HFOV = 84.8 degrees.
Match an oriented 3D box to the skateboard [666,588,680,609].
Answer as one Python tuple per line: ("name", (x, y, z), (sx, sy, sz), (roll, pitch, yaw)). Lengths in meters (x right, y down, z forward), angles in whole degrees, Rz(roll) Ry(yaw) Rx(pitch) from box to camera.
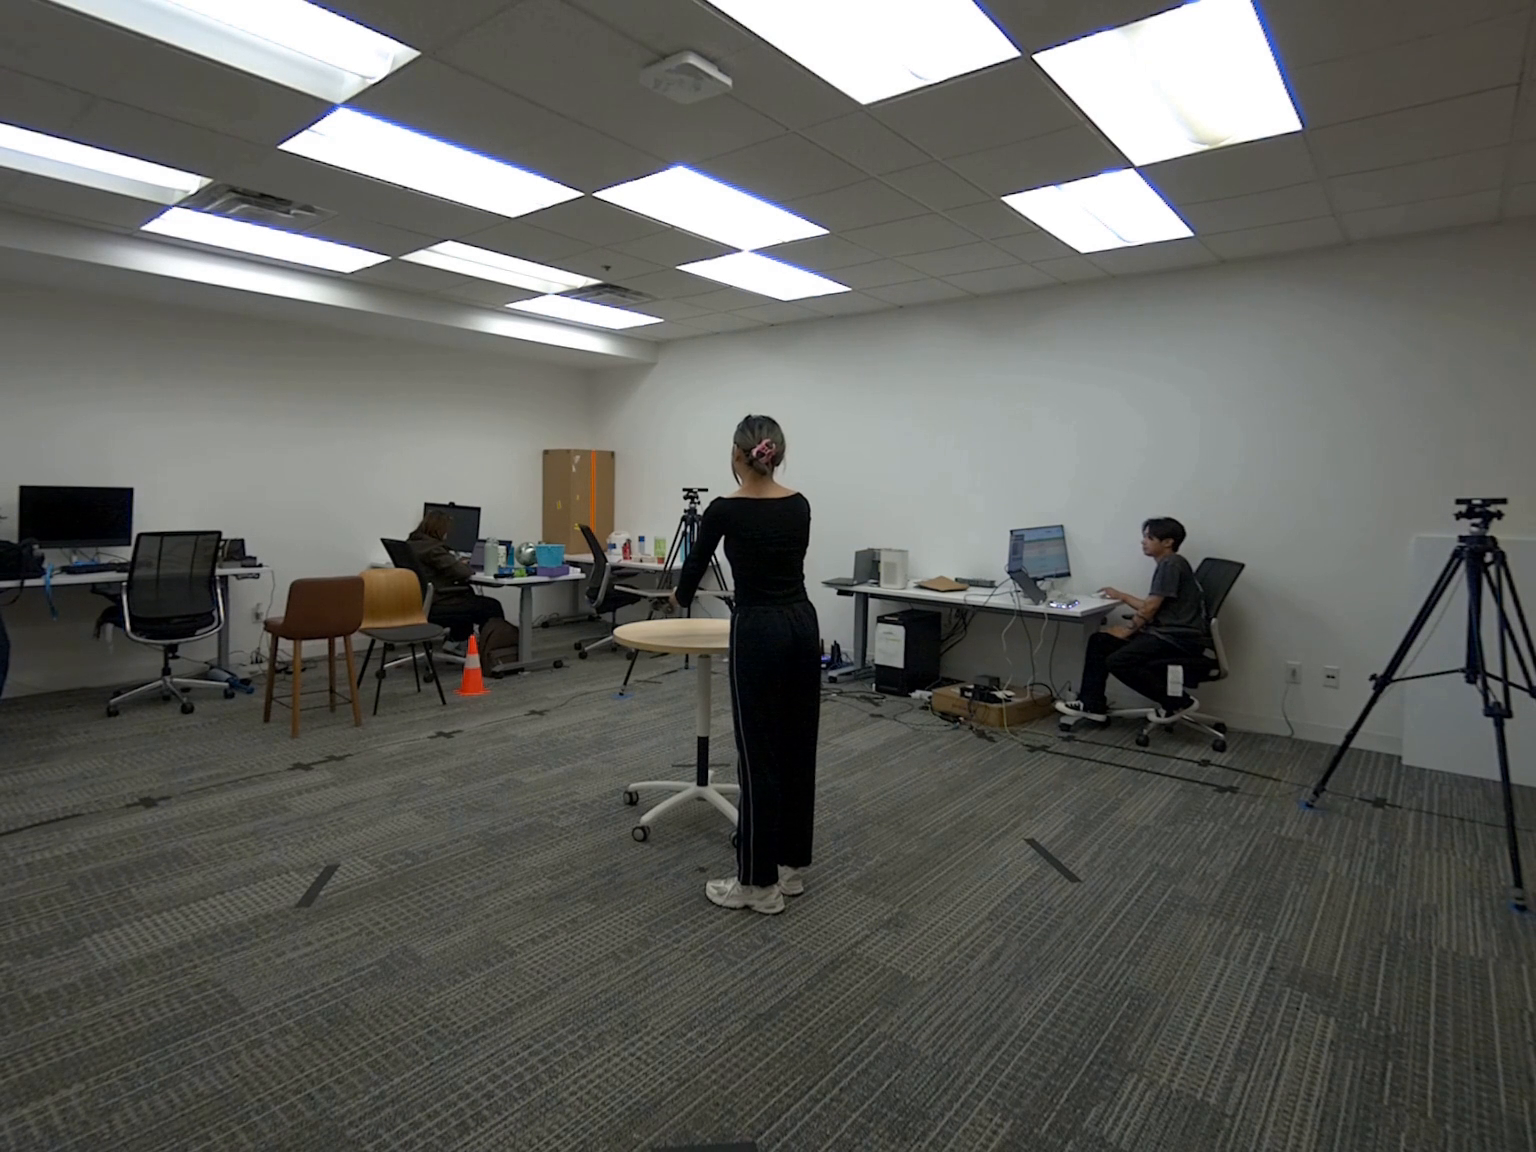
("skateboard", (-0.261, 0.098, 3.477), (0.768, 0.110, 0.197), (2, -1, -21))
